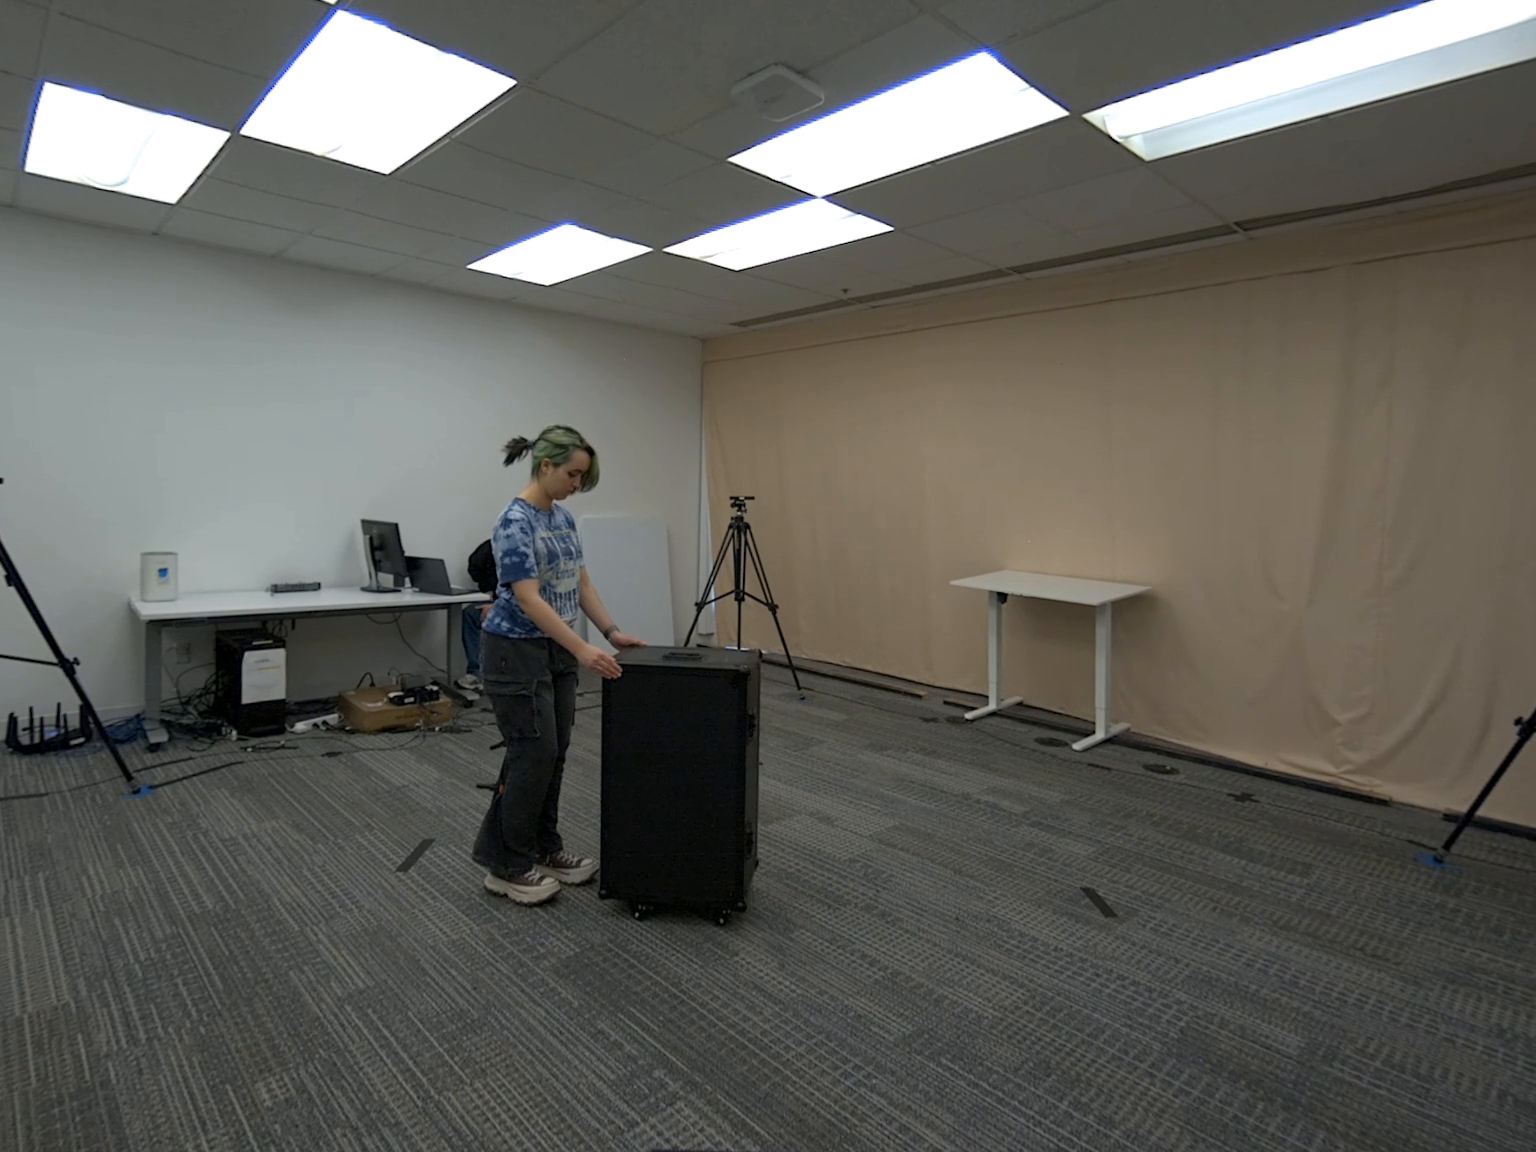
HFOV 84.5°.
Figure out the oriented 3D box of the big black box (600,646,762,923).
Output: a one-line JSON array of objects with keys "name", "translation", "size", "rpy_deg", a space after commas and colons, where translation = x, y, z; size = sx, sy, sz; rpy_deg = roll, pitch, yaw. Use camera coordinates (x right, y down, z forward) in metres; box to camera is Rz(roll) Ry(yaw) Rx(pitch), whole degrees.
[{"name": "big black box", "translation": [-0.296, 0.700, 2.874], "size": [0.525, 0.860, 0.394], "rpy_deg": [1, 3, 8]}]
